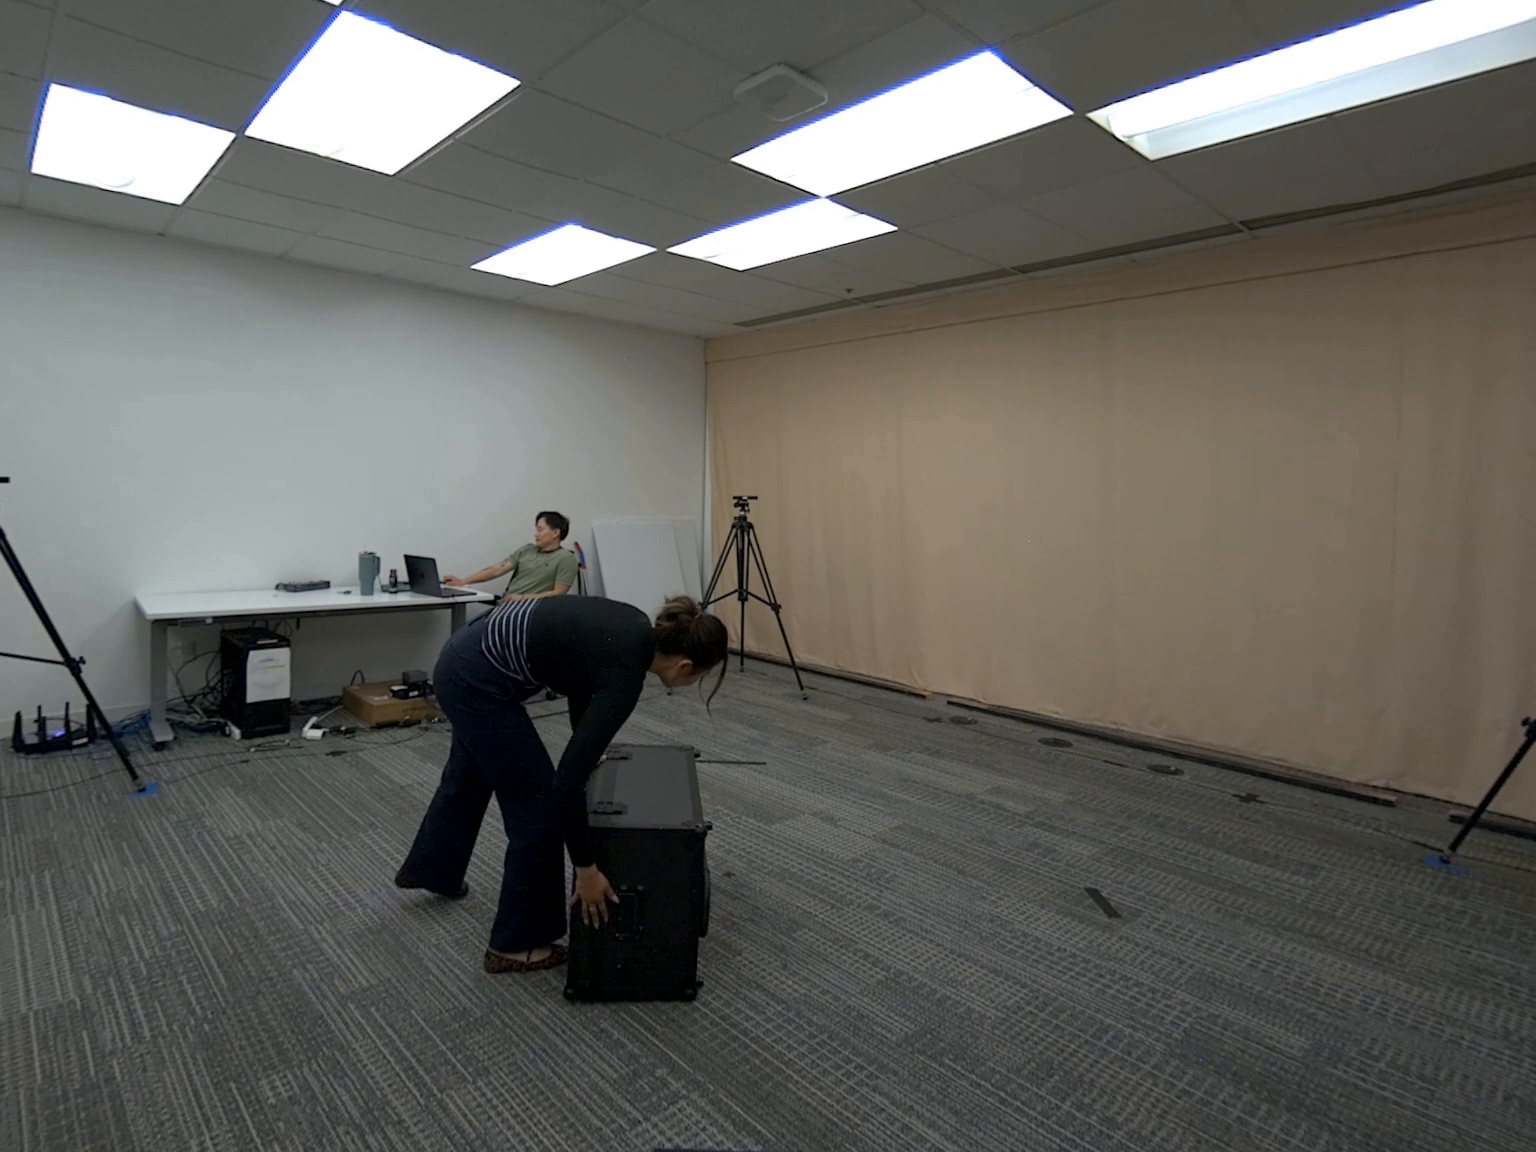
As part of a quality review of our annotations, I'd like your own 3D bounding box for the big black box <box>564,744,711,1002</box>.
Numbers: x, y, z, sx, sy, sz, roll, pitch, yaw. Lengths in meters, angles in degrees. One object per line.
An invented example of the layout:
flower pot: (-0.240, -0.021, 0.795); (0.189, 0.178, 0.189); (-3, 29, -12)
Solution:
big black box: (-0.402, 0.880, 2.707); (0.394, 0.520, 0.869); (4, 4, -8)
